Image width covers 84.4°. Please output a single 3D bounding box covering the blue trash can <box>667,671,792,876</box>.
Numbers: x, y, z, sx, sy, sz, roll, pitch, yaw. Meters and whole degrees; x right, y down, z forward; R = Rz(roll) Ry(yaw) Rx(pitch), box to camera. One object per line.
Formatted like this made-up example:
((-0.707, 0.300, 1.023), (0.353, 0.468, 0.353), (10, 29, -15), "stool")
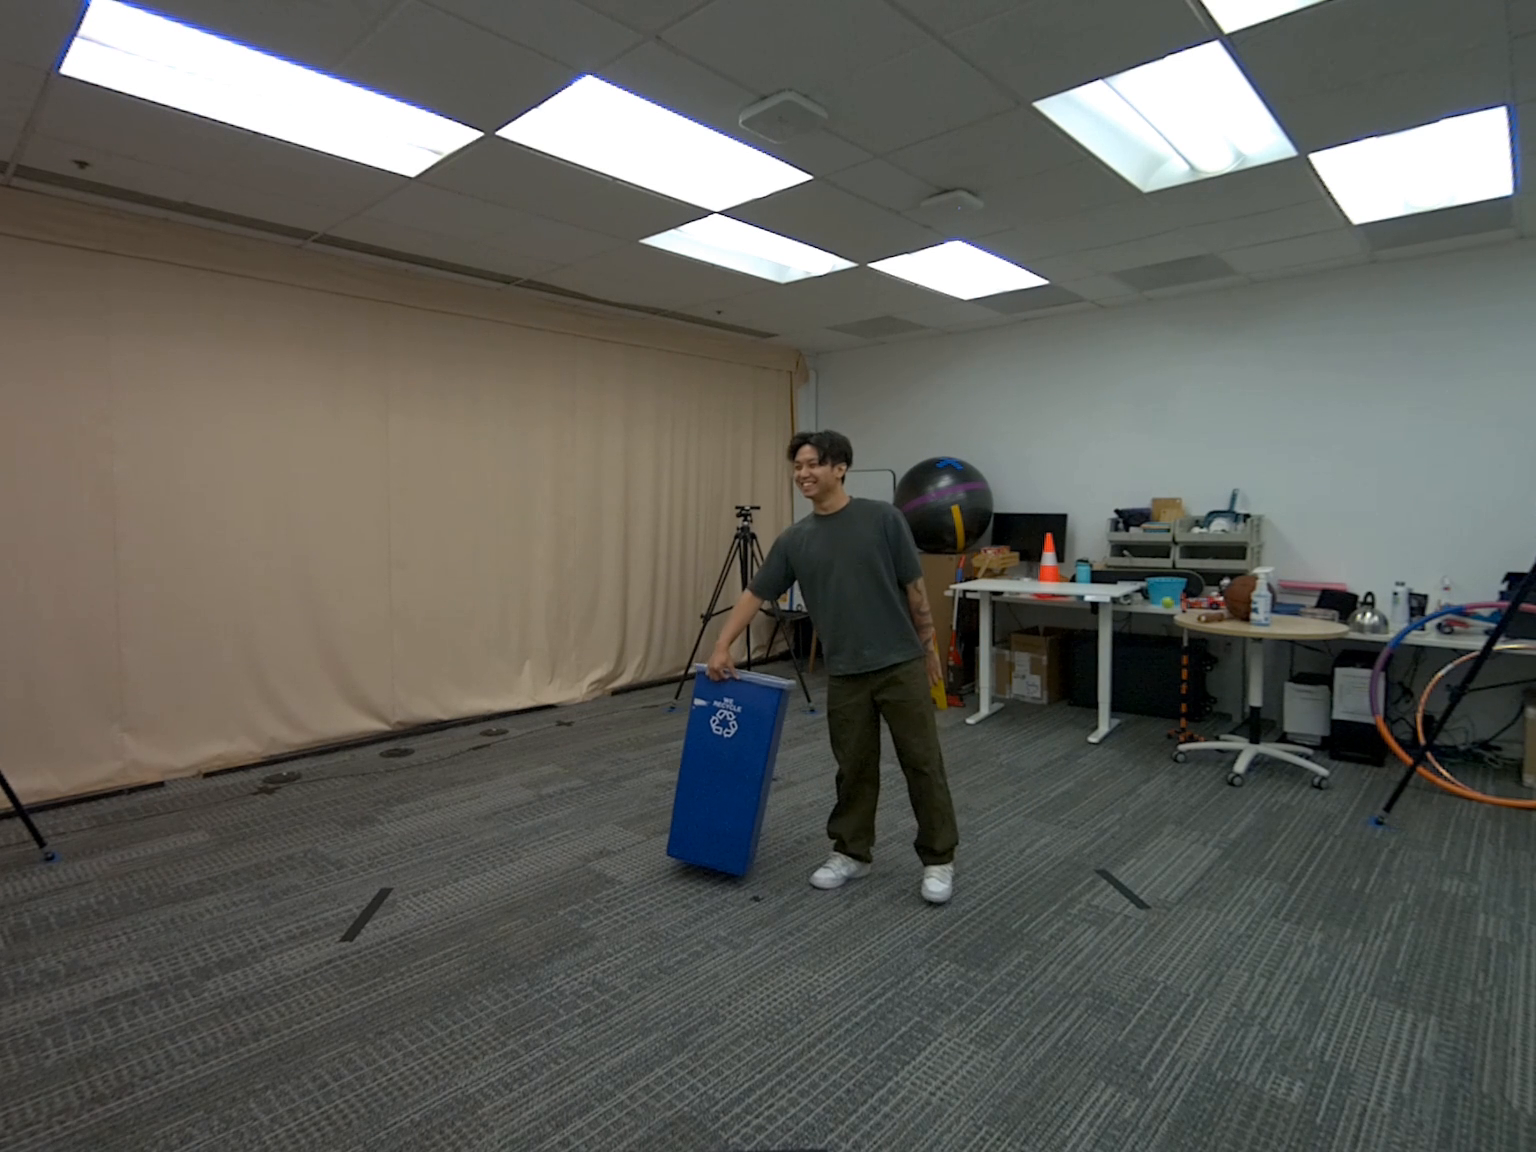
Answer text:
((-0.137, 0.732, 3.264), (0.379, 0.715, 0.372), (8, -5, 10), "blue trash can")
